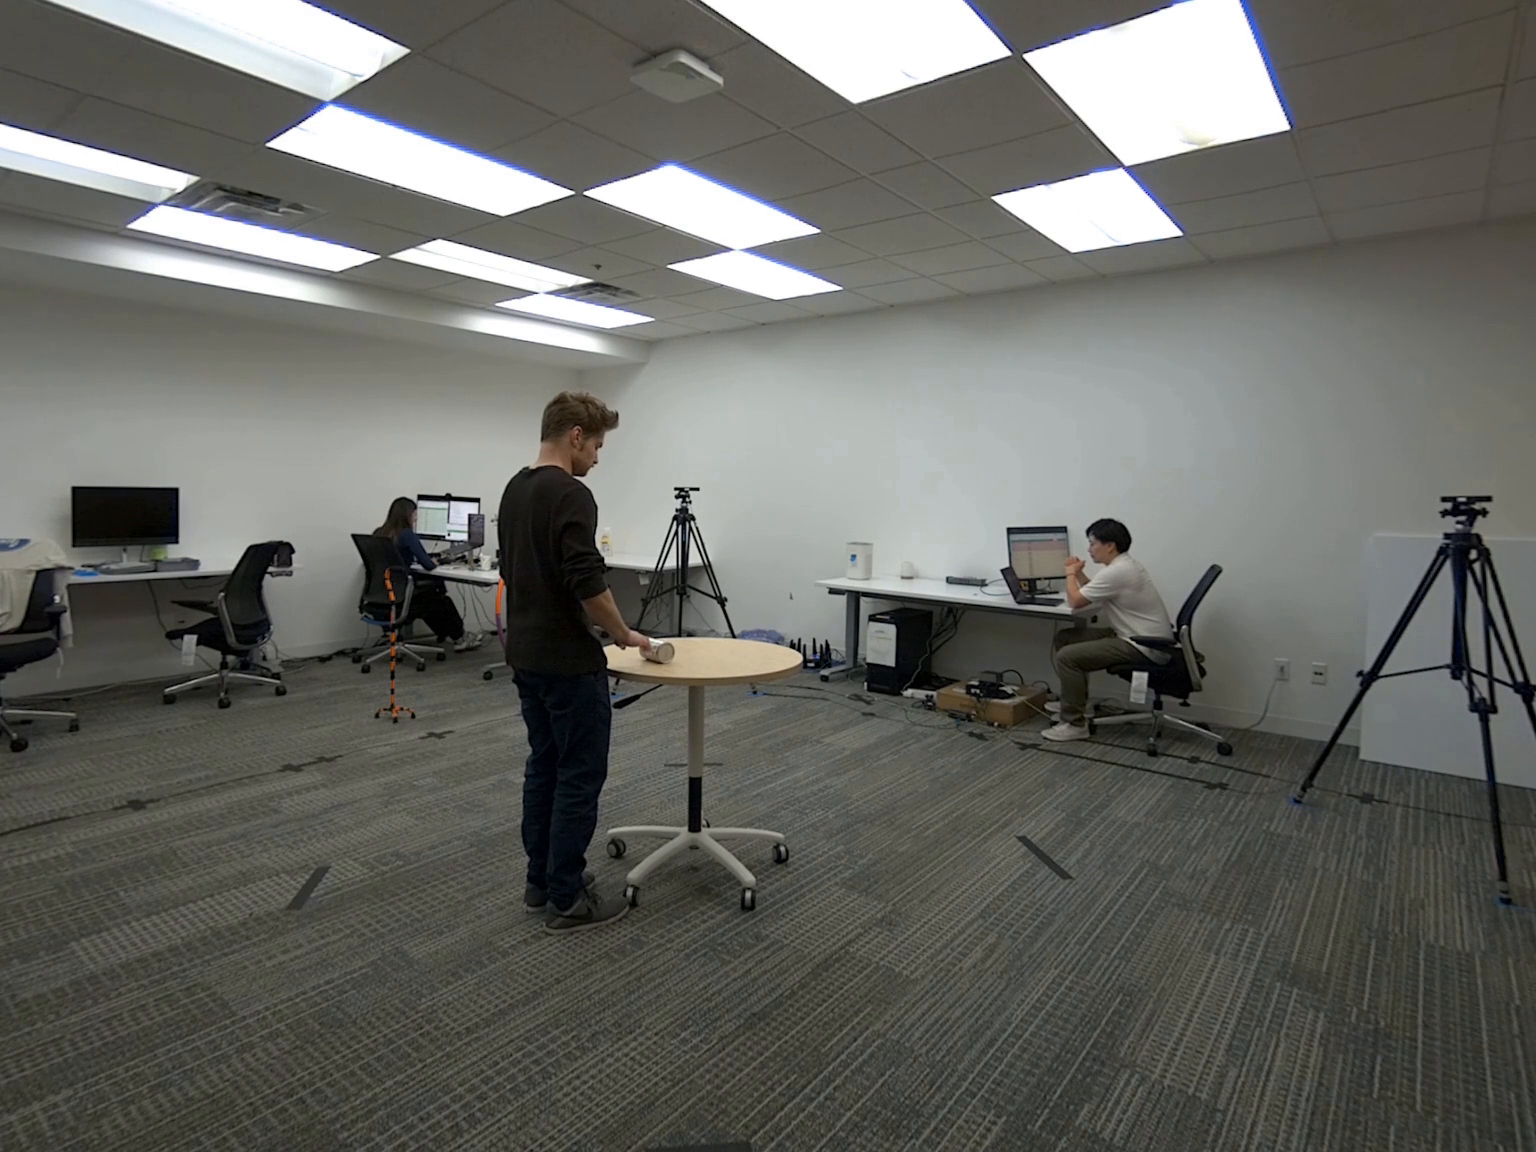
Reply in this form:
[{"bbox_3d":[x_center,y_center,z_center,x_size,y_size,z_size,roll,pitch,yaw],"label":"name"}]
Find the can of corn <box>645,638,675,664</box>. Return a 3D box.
[{"bbox_3d":[-0.390,0.257,2.956,0.072,0.074,0.115,-3,4,-41],"label":"can of corn"}]
